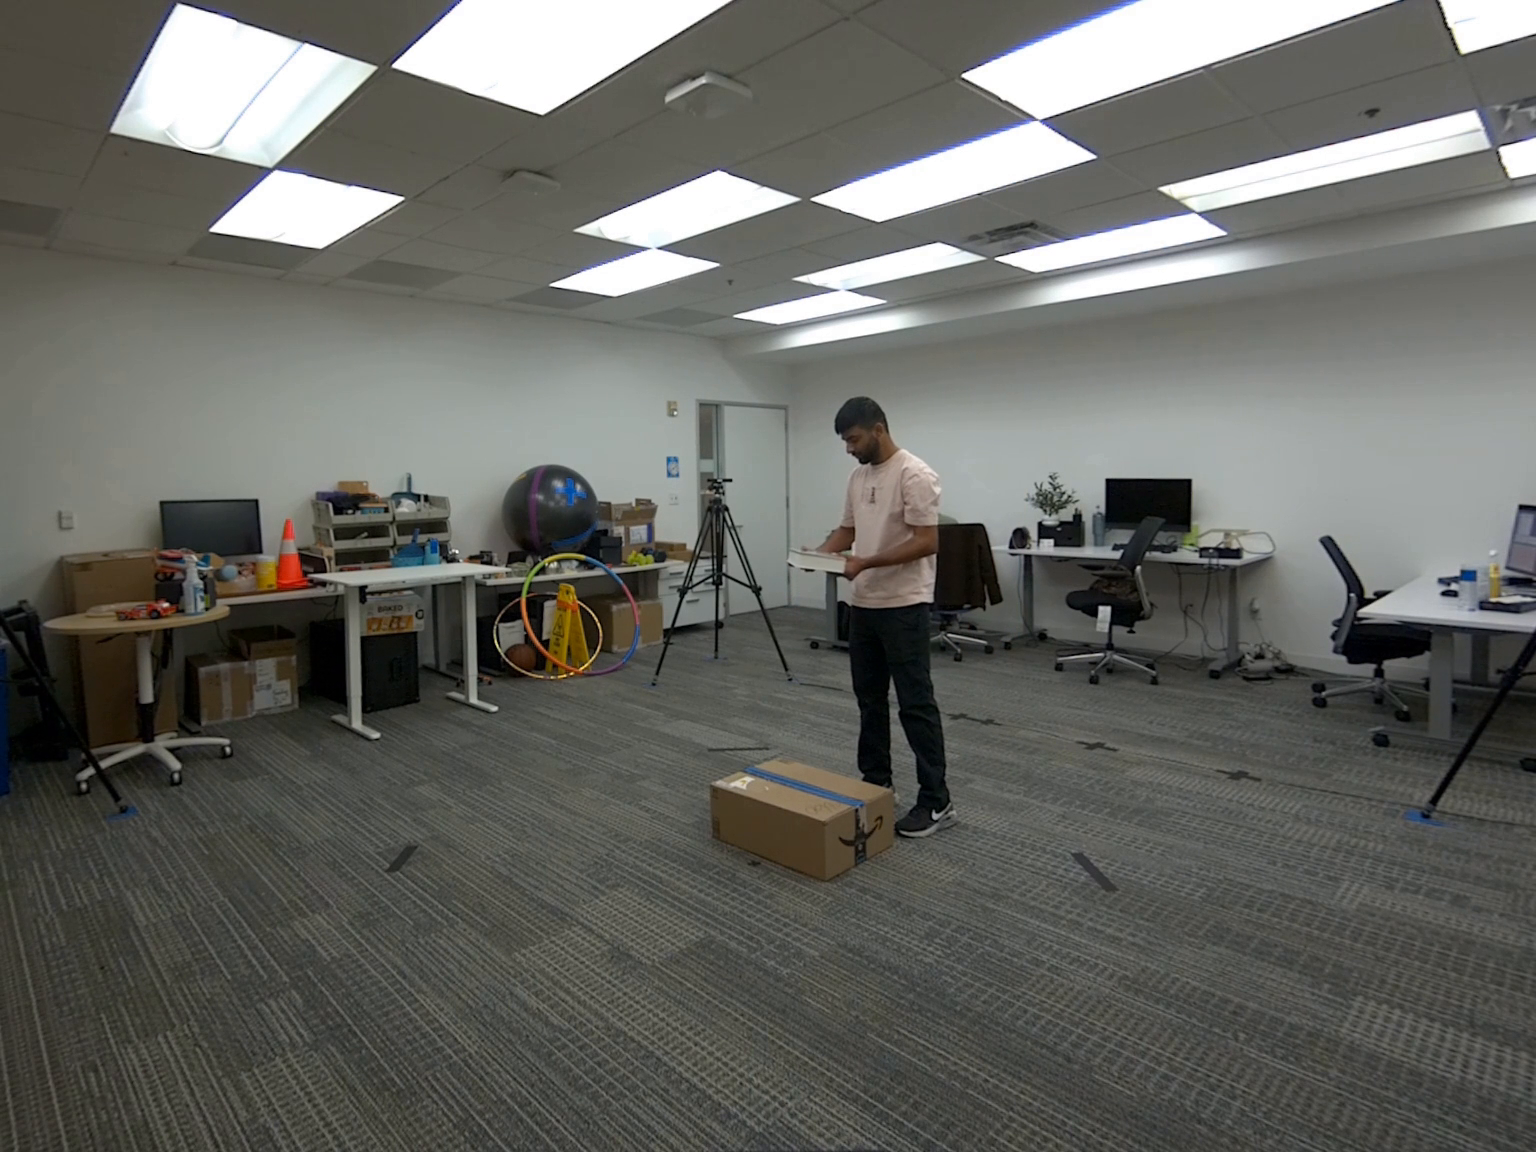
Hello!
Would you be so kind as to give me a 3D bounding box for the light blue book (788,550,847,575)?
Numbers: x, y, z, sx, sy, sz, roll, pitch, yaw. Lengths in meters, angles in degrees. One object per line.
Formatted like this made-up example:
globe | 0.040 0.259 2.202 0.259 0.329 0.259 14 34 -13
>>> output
light blue book | 0.228 -0.059 3.430 0.268 0.059 0.187 8 4 27
